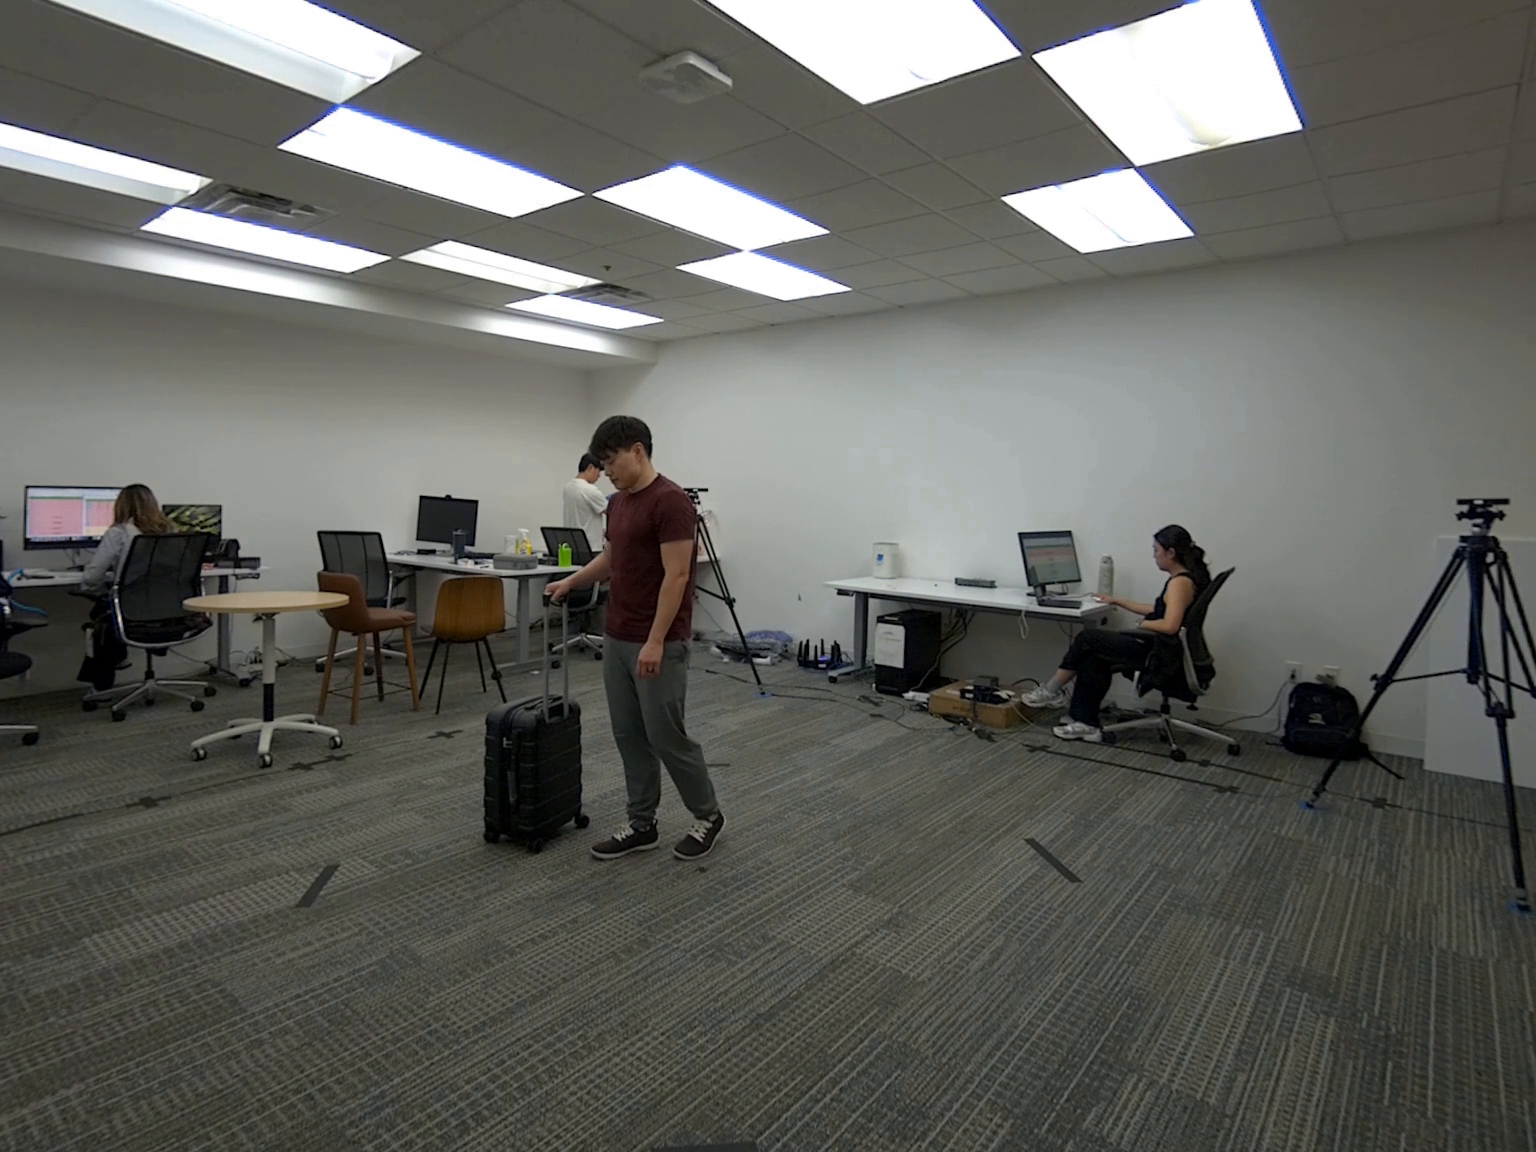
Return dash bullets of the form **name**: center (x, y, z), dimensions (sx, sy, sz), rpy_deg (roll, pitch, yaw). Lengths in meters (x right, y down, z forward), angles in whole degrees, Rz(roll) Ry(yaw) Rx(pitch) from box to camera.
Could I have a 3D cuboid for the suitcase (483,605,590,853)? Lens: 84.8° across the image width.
- **suitcase**: center (-0.944, 0.560, 3.369), dimensions (0.263, 0.975, 0.376), rpy_deg (1, 4, 25)
